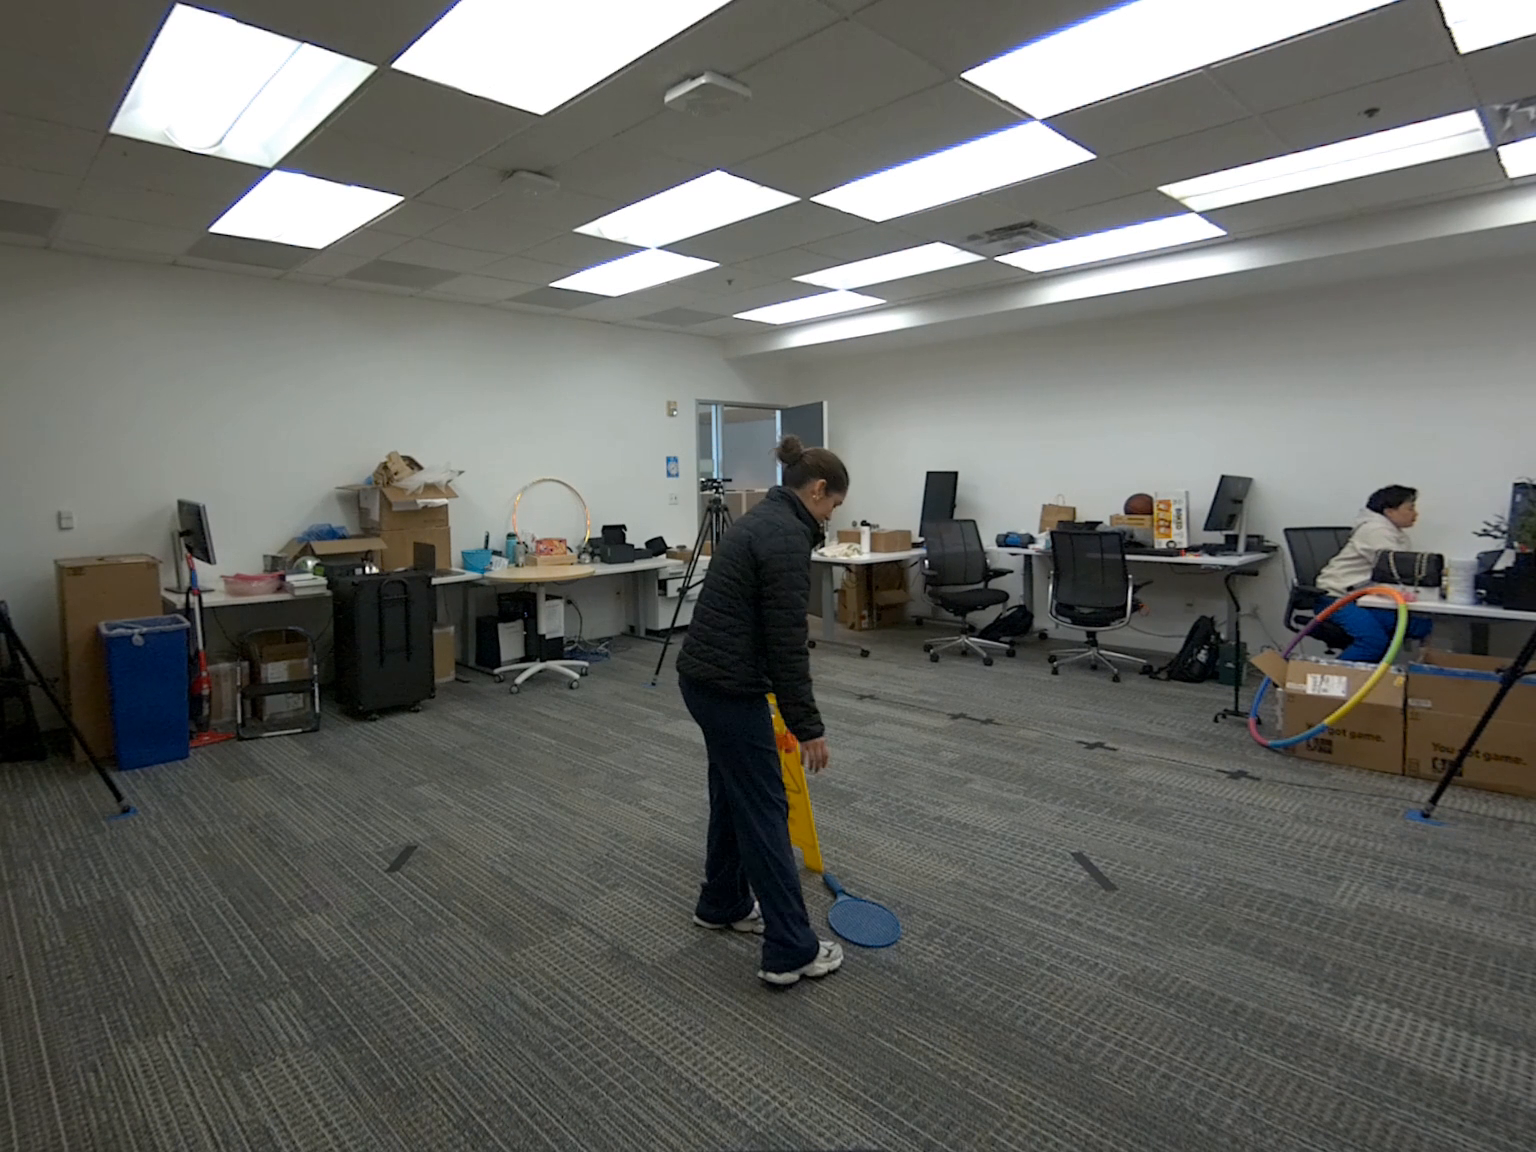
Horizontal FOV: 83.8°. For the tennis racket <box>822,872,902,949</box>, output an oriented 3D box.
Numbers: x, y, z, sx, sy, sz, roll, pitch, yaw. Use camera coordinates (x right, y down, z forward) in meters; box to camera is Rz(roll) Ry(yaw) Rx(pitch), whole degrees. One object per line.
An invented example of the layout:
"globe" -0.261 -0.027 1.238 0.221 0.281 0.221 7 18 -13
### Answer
"tennis racket" 0.269 1.054 2.760 0.211 0.031 0.441 -1 7 -16
